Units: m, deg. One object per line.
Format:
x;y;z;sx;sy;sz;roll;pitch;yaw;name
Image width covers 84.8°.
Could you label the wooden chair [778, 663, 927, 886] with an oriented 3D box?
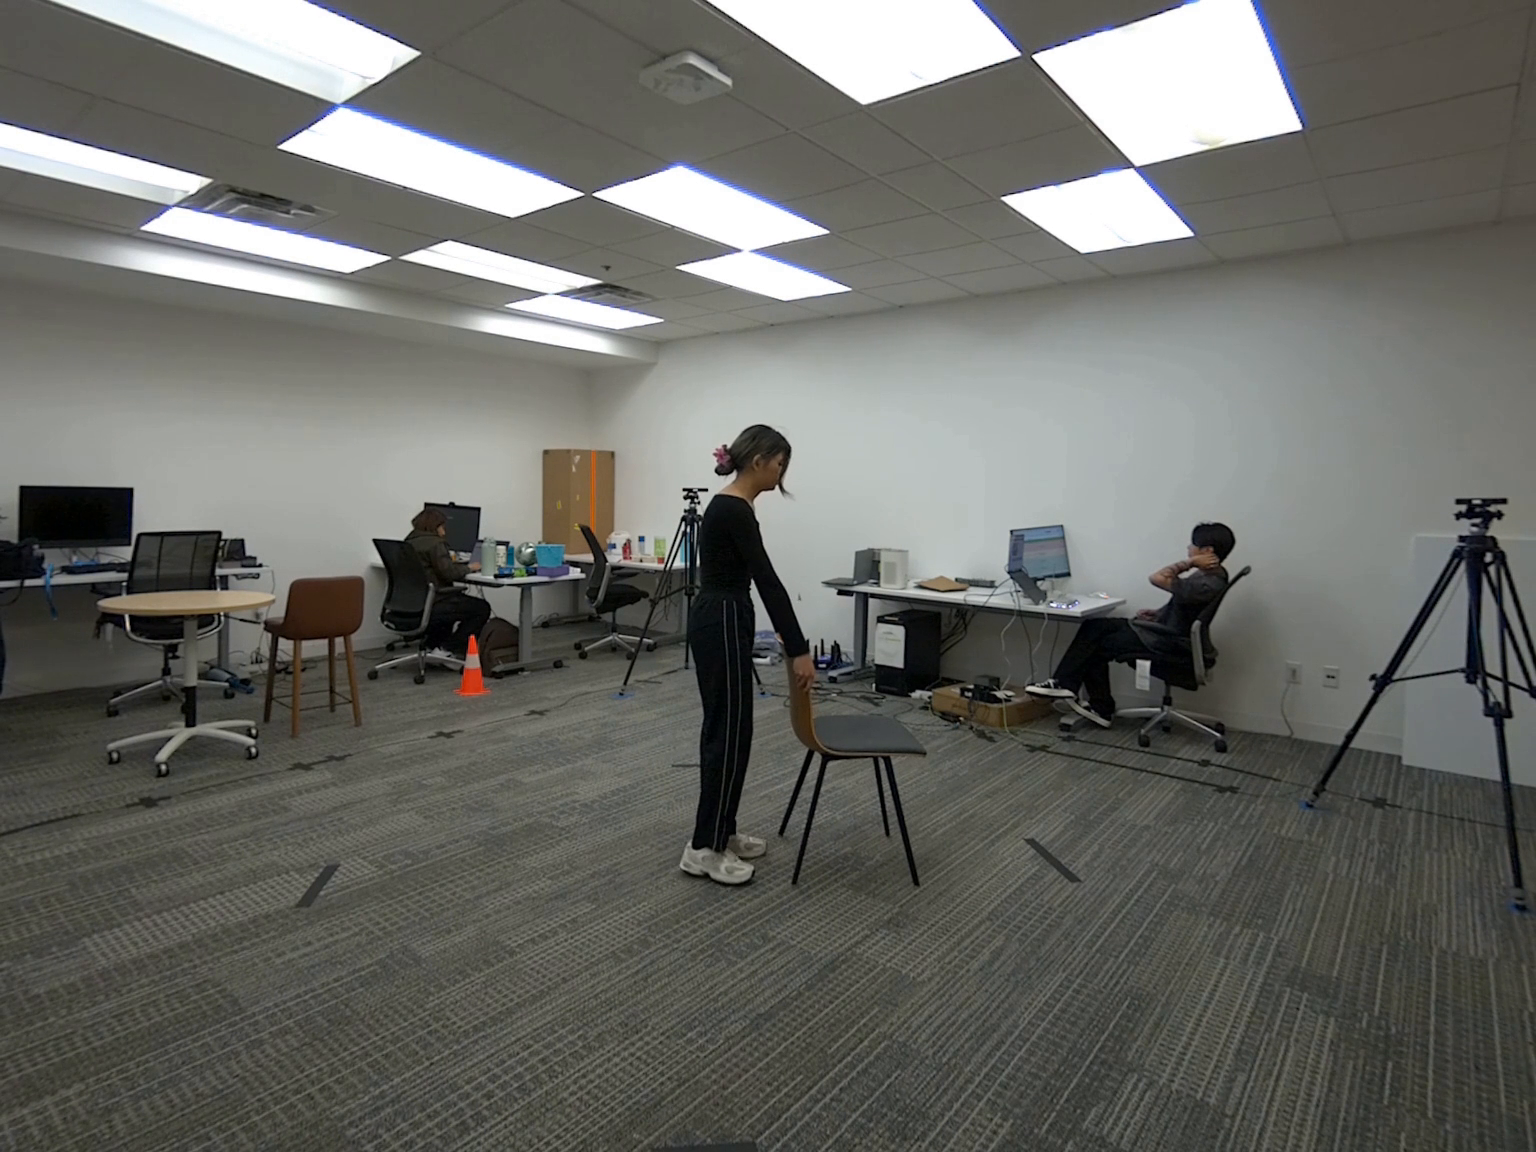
0.303;0.647;3.201;0.522;0.875;0.481;-3;3;-4;wooden chair
